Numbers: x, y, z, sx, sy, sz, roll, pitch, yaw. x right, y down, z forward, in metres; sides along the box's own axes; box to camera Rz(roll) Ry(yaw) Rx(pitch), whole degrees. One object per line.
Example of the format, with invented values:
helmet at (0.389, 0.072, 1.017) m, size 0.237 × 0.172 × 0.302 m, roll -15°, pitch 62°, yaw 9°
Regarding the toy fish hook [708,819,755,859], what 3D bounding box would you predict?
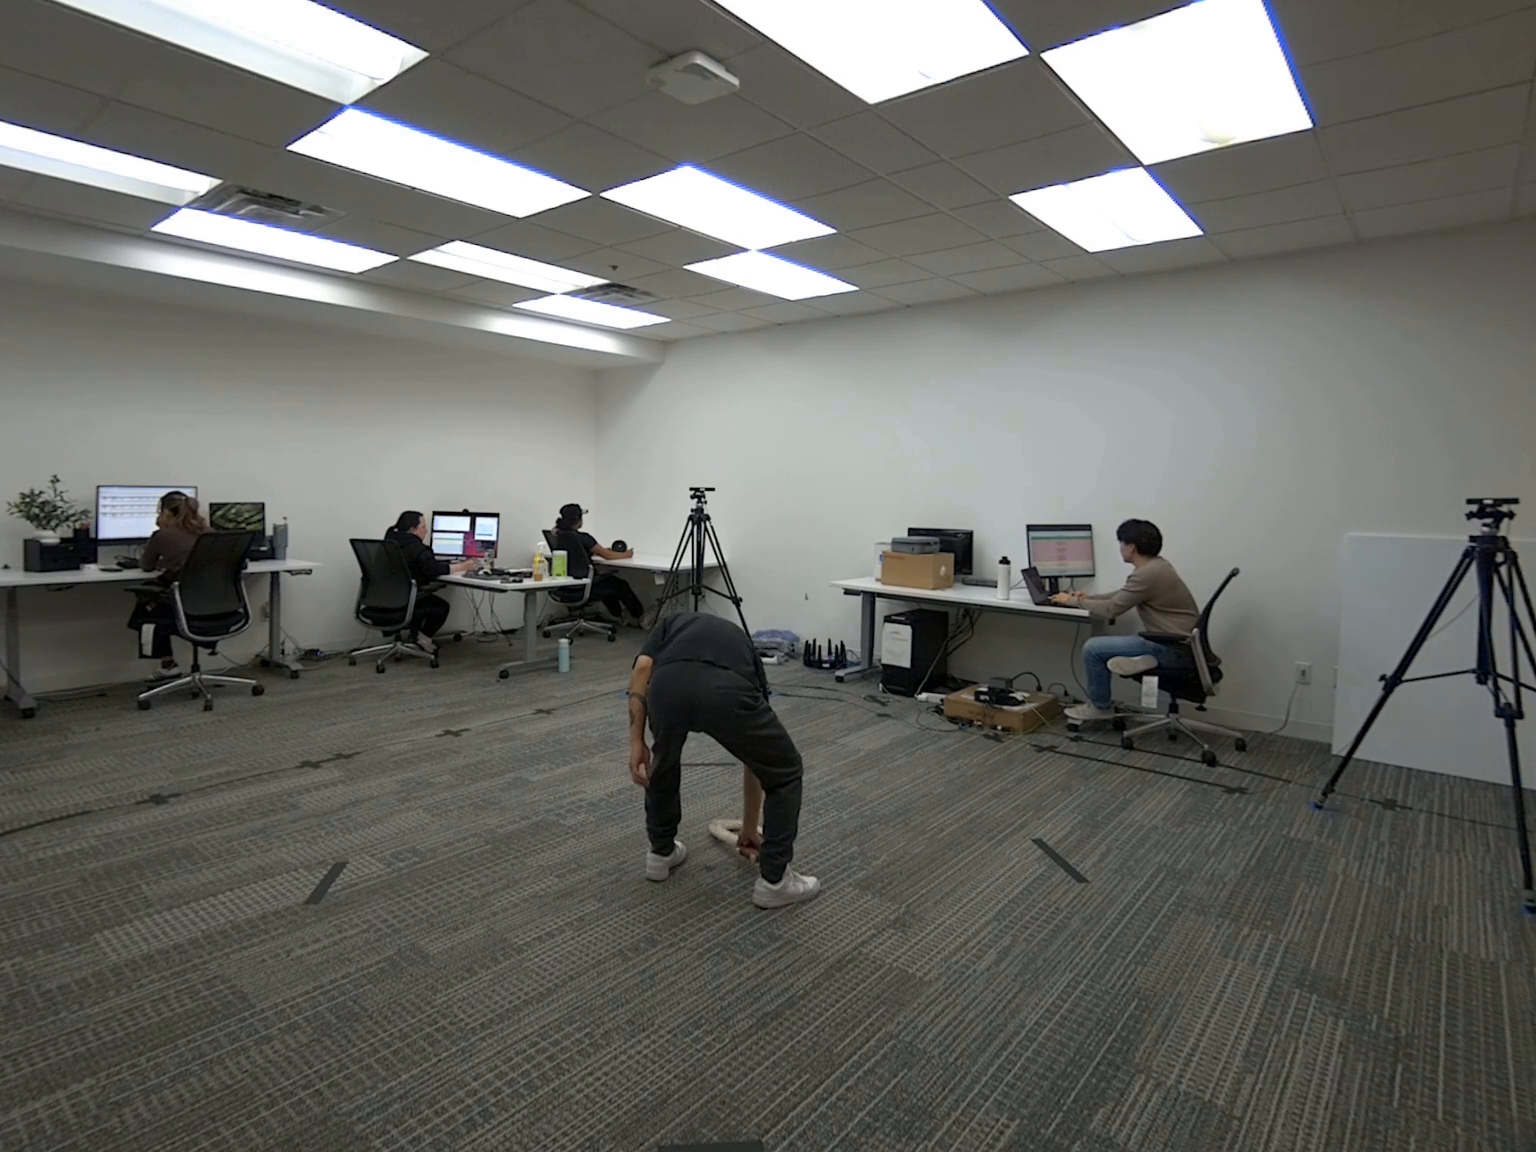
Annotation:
toy fish hook at (-0.083, 0.997, 3.270) m, size 0.220 × 0.048 × 0.515 m, roll -1°, pitch 0°, yaw -19°
